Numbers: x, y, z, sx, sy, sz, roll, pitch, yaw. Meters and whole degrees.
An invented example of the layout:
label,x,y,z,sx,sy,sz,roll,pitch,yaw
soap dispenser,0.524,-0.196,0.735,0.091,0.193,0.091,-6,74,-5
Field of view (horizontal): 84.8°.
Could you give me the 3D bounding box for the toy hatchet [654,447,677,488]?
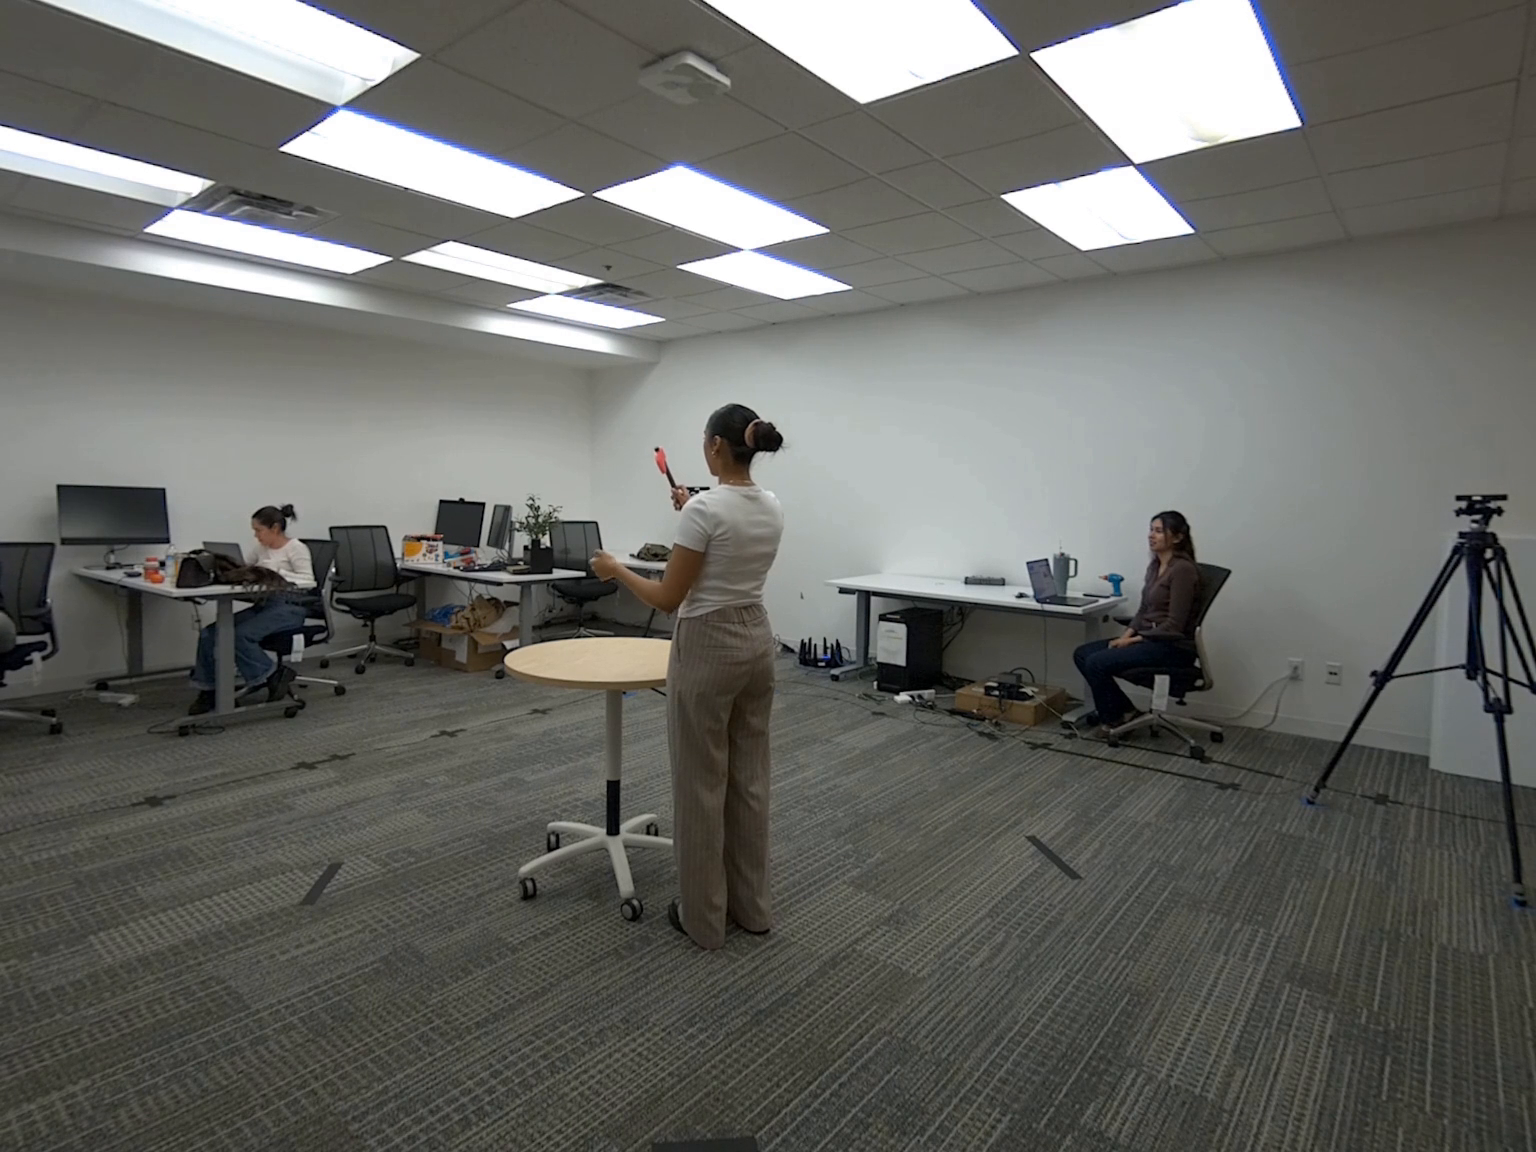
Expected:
label,x,y,z,sx,sy,sz,roll,pitch,yaw
toy hatchet,-0.349,-0.325,2.948,0.030,0.268,0.131,-19,5,6
